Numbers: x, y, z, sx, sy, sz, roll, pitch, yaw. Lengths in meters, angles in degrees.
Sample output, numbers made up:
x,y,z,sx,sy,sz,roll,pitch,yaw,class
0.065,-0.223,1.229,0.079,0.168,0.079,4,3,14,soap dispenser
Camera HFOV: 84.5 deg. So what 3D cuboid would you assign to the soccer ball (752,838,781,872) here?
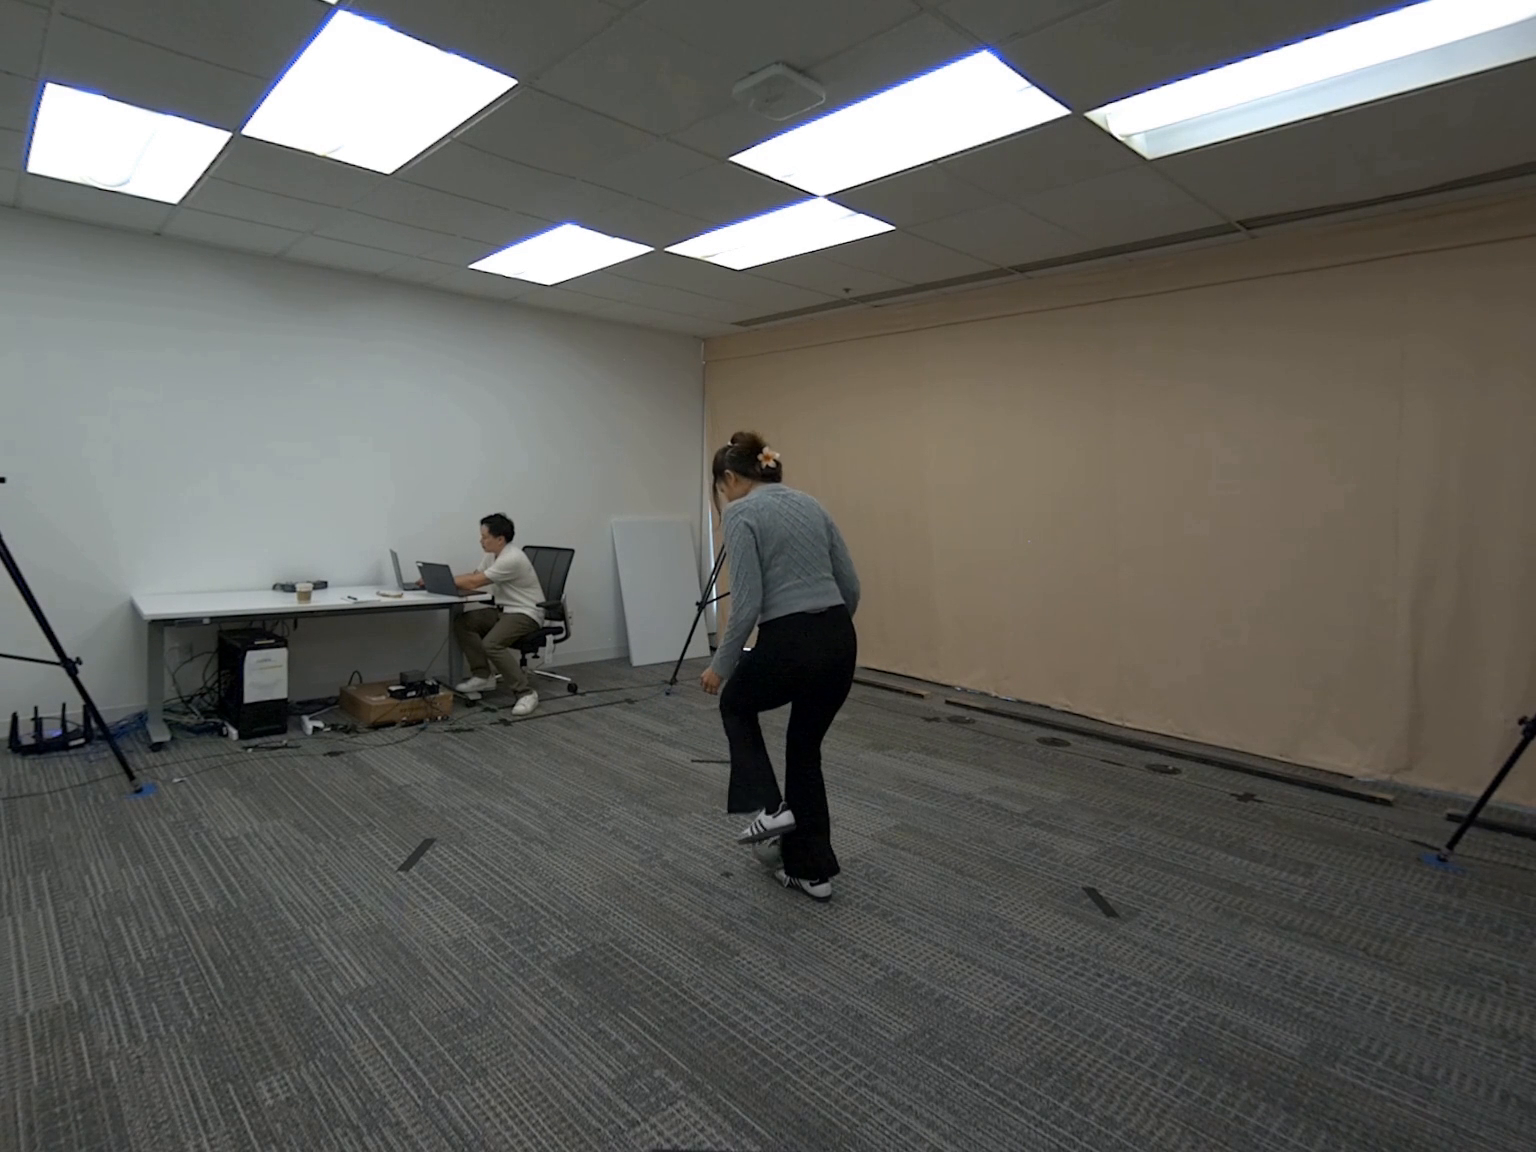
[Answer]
x,y,z,sx,sy,sz,roll,pitch,yaw,class
0.019,0.993,3.123,0.187,0.187,0.188,1,4,-1,soccer ball
